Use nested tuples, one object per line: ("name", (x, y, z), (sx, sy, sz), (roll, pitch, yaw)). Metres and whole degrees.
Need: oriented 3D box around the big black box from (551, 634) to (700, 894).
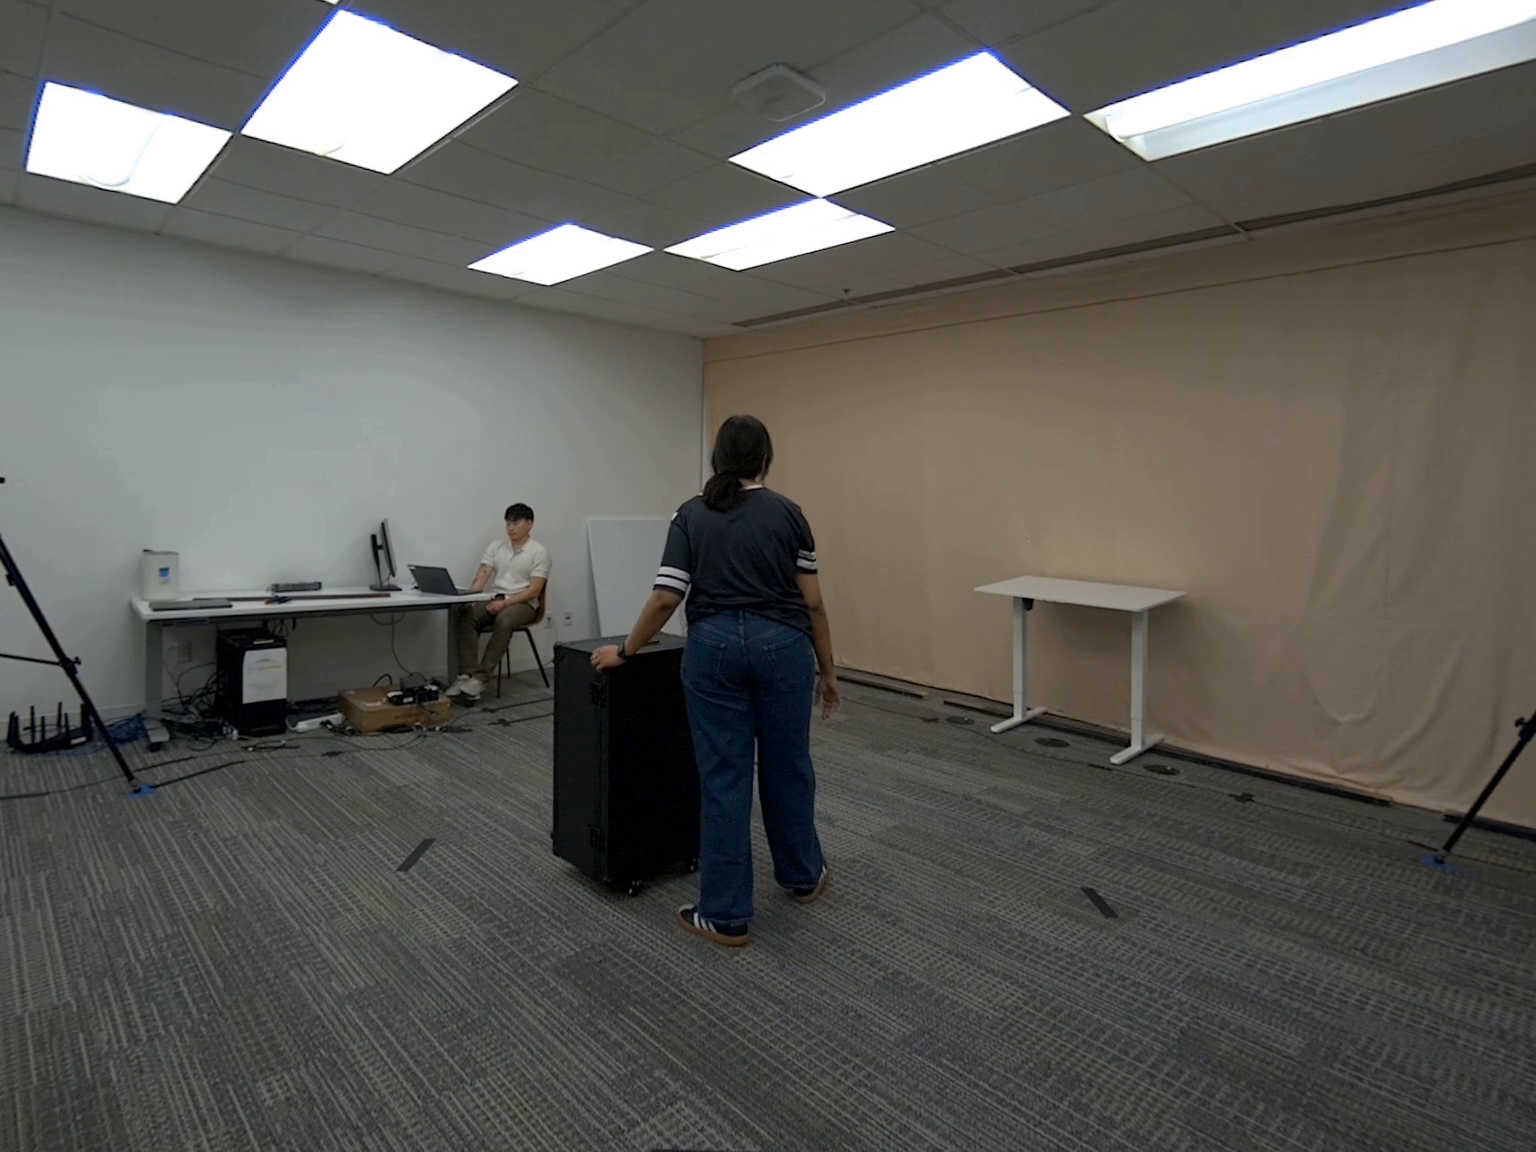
("big black box", (-0.513, 0.671, 3.120), (0.509, 0.860, 0.406), (-2, 3, -43))
